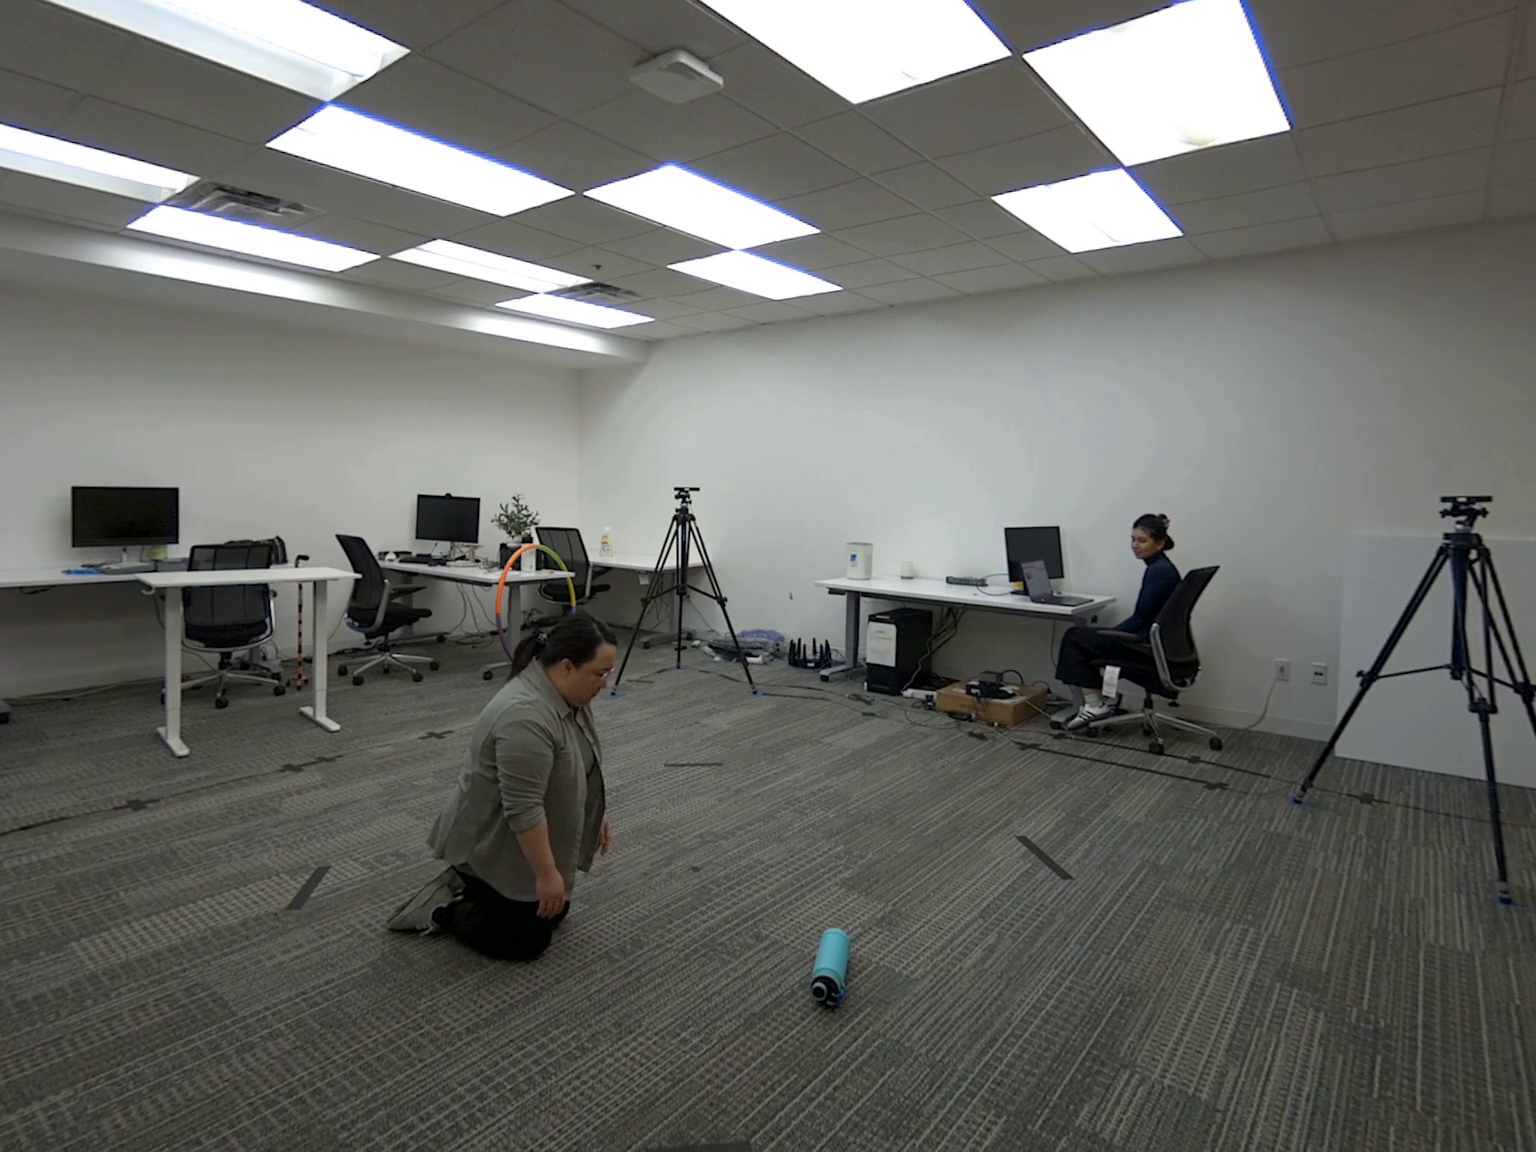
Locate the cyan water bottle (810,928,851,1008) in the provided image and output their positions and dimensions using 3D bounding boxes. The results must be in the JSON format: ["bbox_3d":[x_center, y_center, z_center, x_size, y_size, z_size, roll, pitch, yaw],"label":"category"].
[{"bbox_3d":[0.169,1.104,2.389,0.093,0.092,0.281,2,5,10],"label":"cyan water bottle"}]
